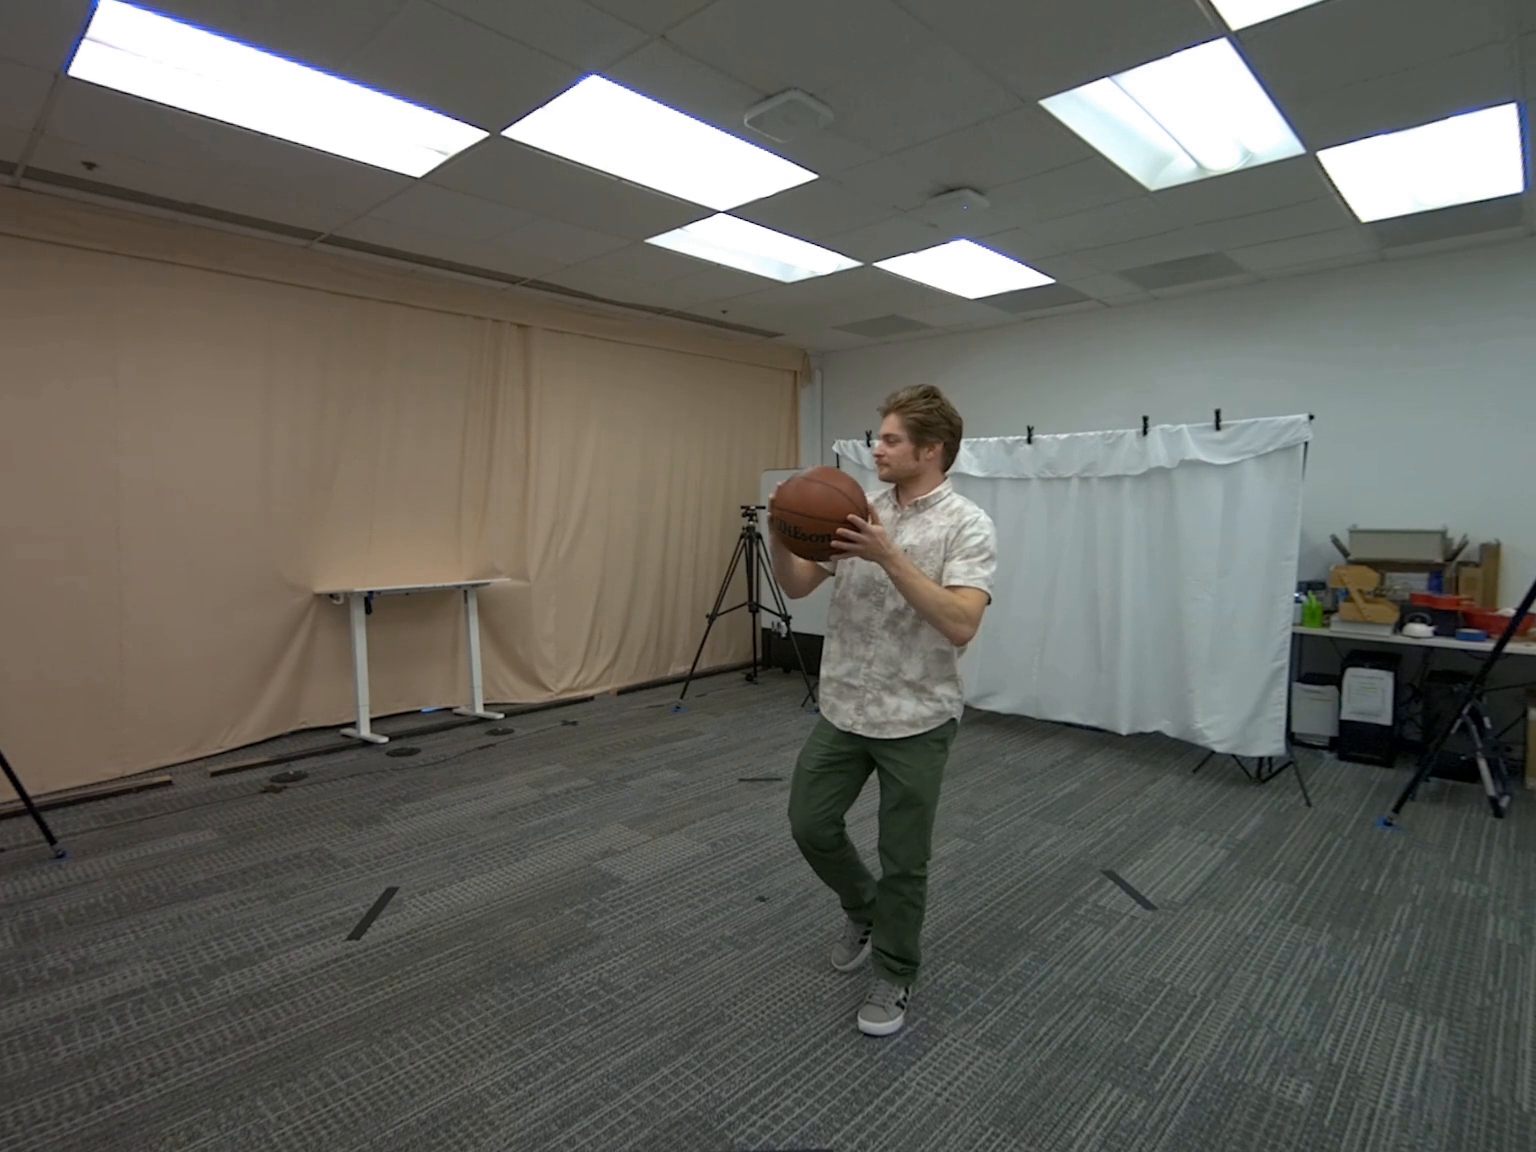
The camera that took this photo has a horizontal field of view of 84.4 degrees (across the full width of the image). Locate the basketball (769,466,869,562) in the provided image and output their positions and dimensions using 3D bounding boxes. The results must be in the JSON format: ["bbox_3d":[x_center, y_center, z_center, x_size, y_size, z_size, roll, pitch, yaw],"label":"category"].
[{"bbox_3d":[0.138,-0.154,2.087,0.236,0.235,0.237,0,4,-2],"label":"basketball"}]
